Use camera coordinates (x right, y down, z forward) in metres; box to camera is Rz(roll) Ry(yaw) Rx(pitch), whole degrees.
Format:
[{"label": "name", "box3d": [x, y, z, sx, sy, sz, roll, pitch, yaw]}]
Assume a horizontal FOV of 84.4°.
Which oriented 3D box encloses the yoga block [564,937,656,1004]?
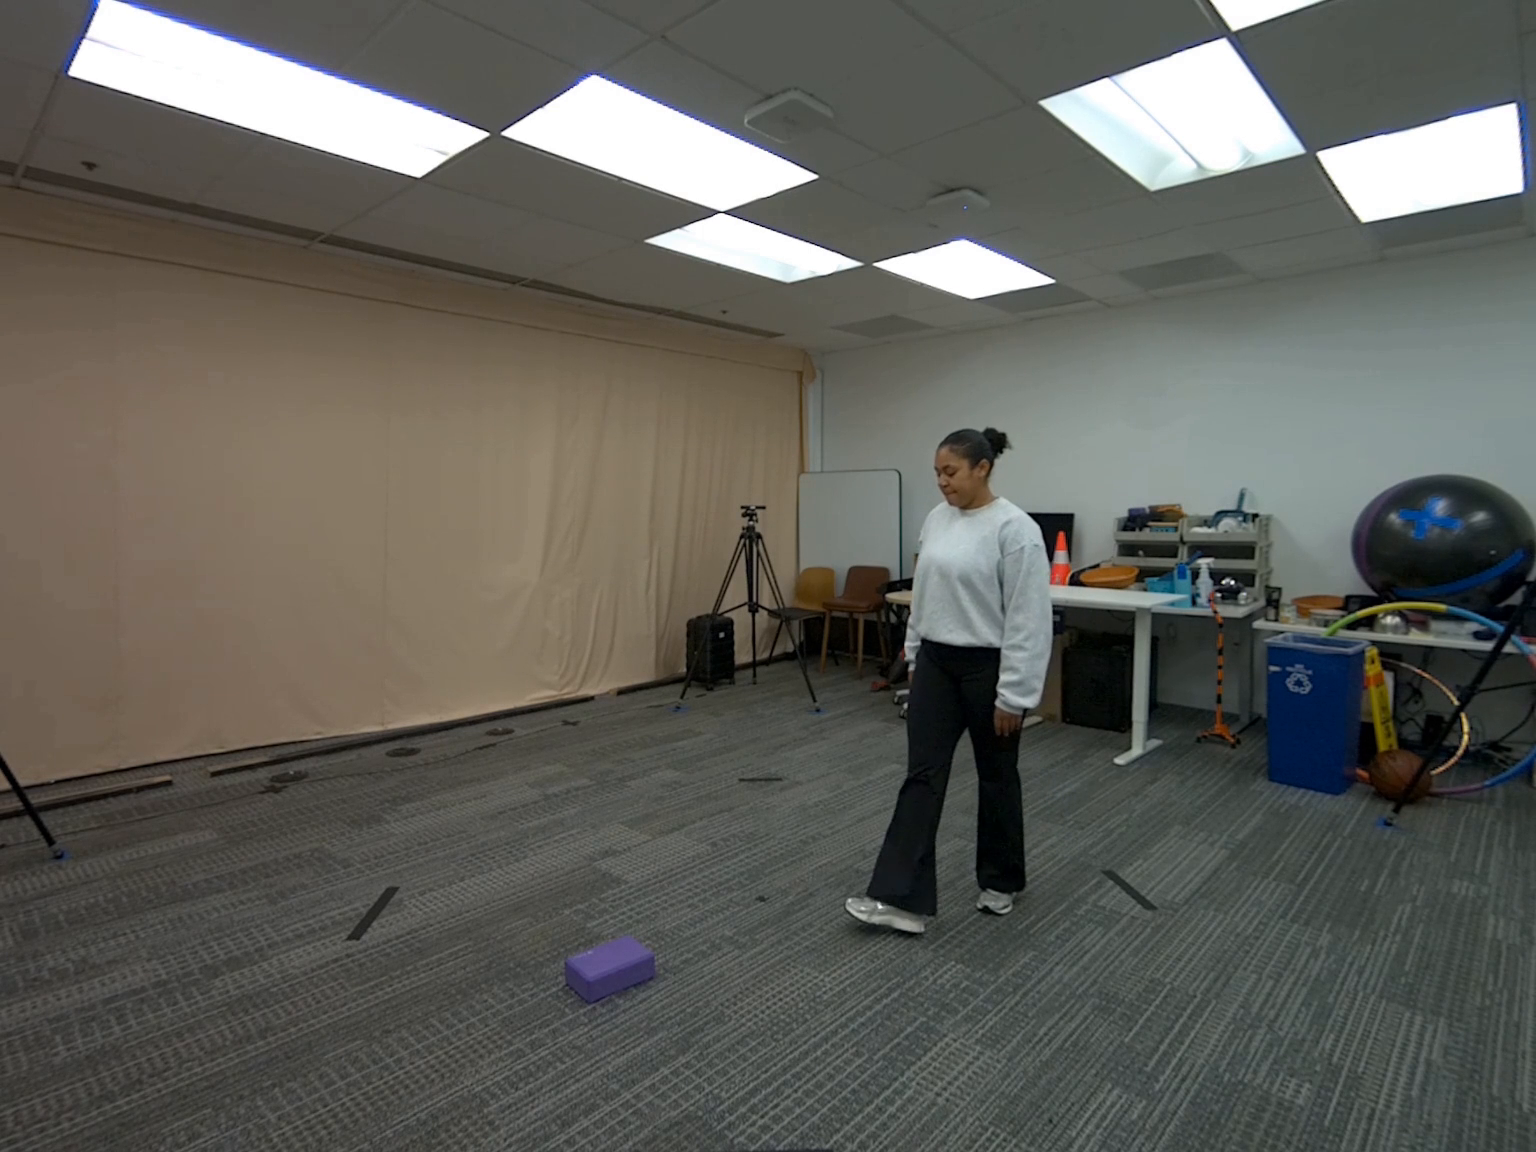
[{"label": "yoga block", "box3d": [-0.463, 1.153, 2.467, 0.222, 0.076, 0.154, -4, 6, -39]}]
